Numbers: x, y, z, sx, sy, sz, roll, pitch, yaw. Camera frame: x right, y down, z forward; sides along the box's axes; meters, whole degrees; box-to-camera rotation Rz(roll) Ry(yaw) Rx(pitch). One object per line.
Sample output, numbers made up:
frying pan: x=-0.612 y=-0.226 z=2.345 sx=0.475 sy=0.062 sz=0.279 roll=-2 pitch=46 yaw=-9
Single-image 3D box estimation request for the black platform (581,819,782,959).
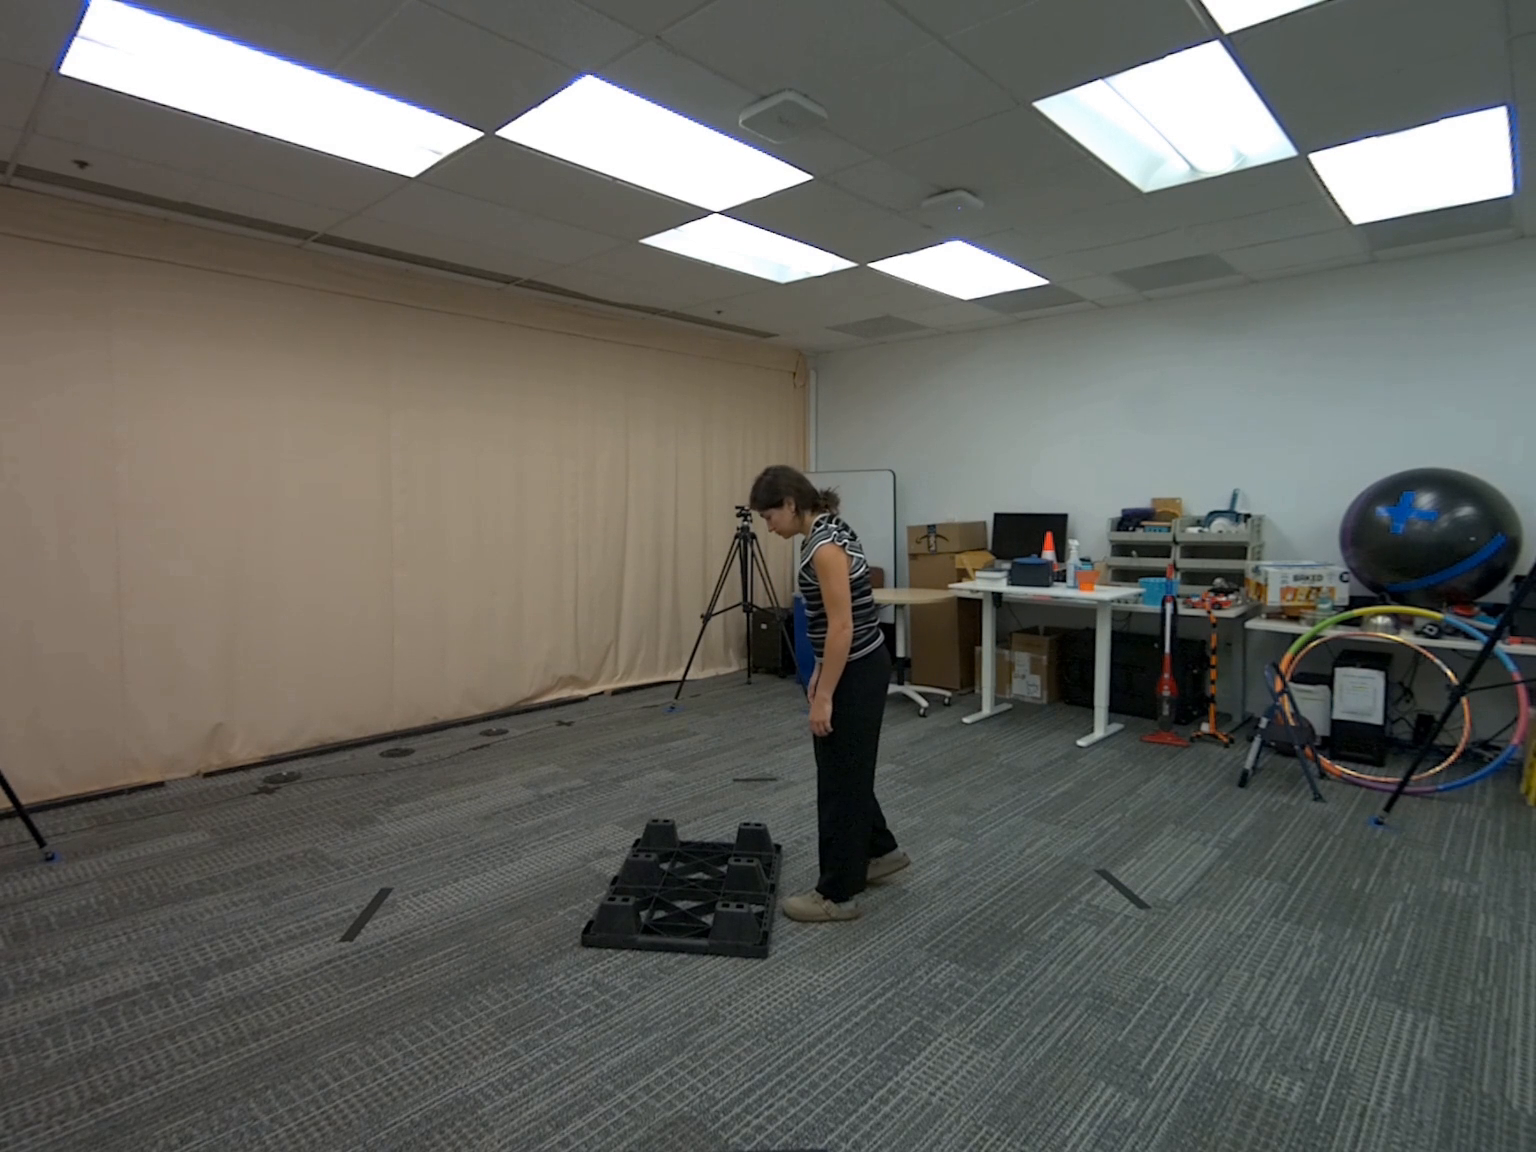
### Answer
black platform: x=-0.270 y=1.076 z=3.015 sx=0.609 sy=0.143 sz=0.802 roll=0 pitch=5 yaw=5
